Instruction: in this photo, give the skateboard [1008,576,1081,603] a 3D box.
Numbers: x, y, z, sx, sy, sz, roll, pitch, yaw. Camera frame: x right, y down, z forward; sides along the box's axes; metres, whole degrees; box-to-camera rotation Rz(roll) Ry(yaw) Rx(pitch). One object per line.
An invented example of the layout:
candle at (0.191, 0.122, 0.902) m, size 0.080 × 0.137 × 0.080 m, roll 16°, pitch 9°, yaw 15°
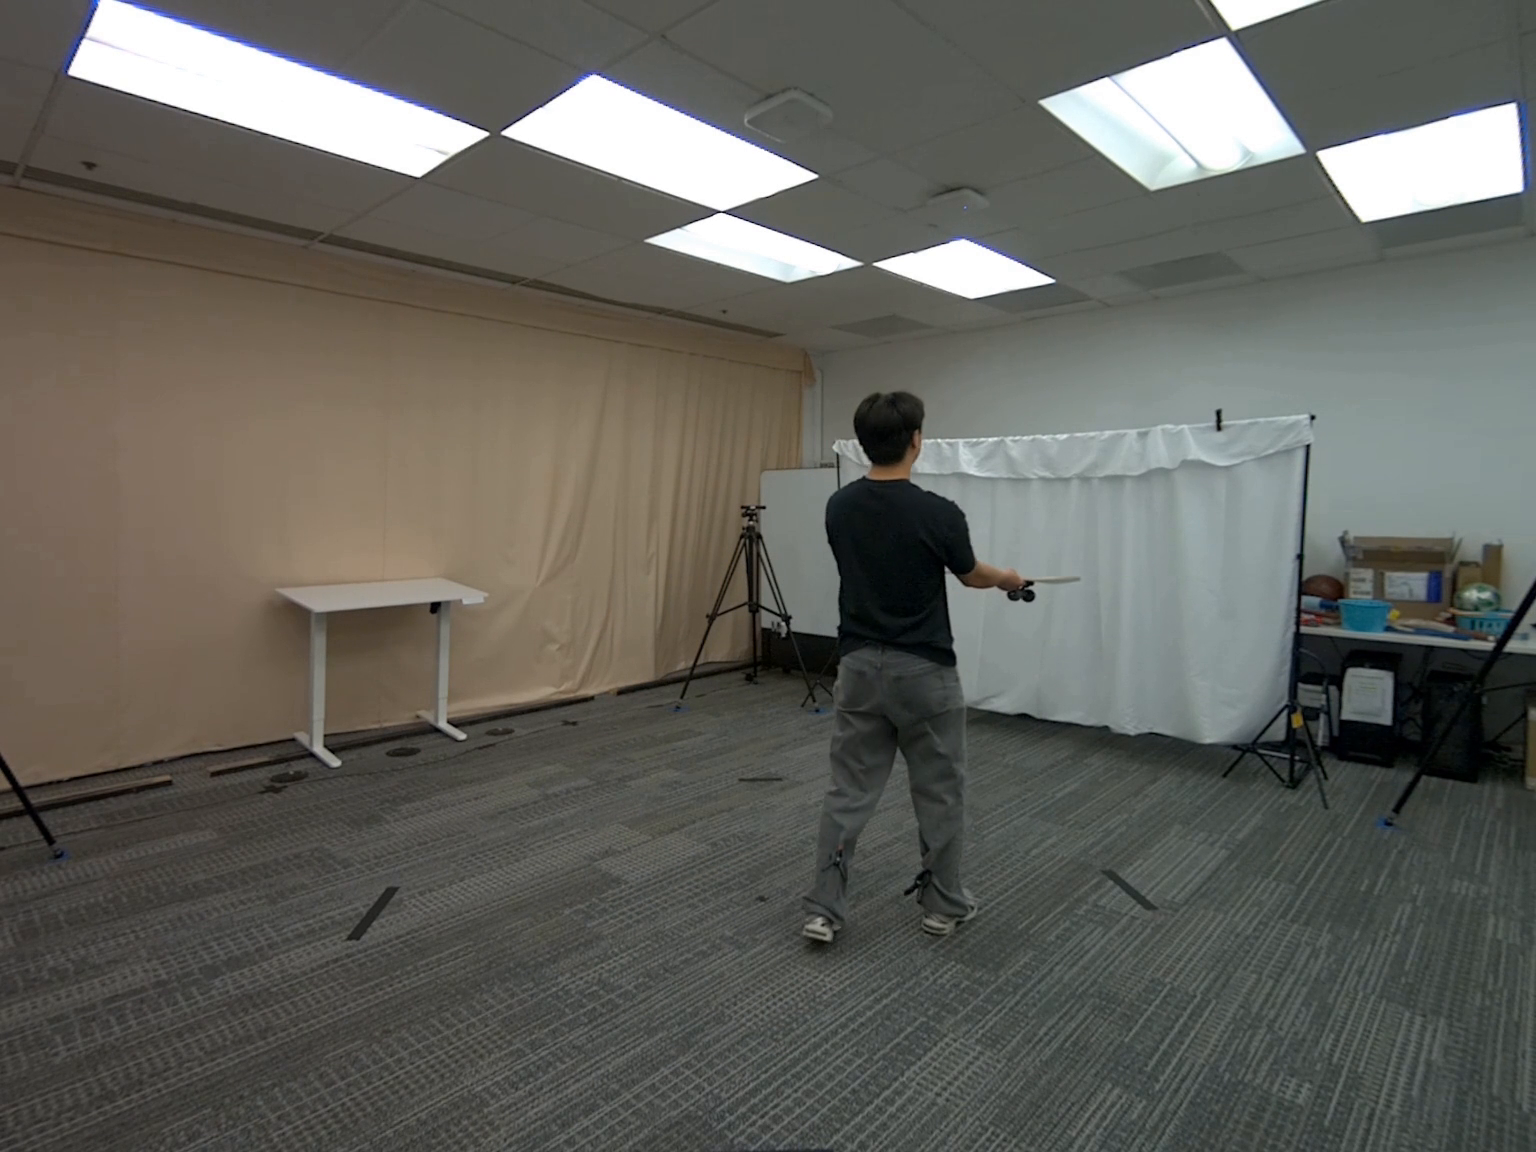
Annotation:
skateboard at (0.773, 0.018, 3.188) m, size 0.811 × 0.110 × 0.187 m, roll 6°, pitch -1°, yaw 36°
